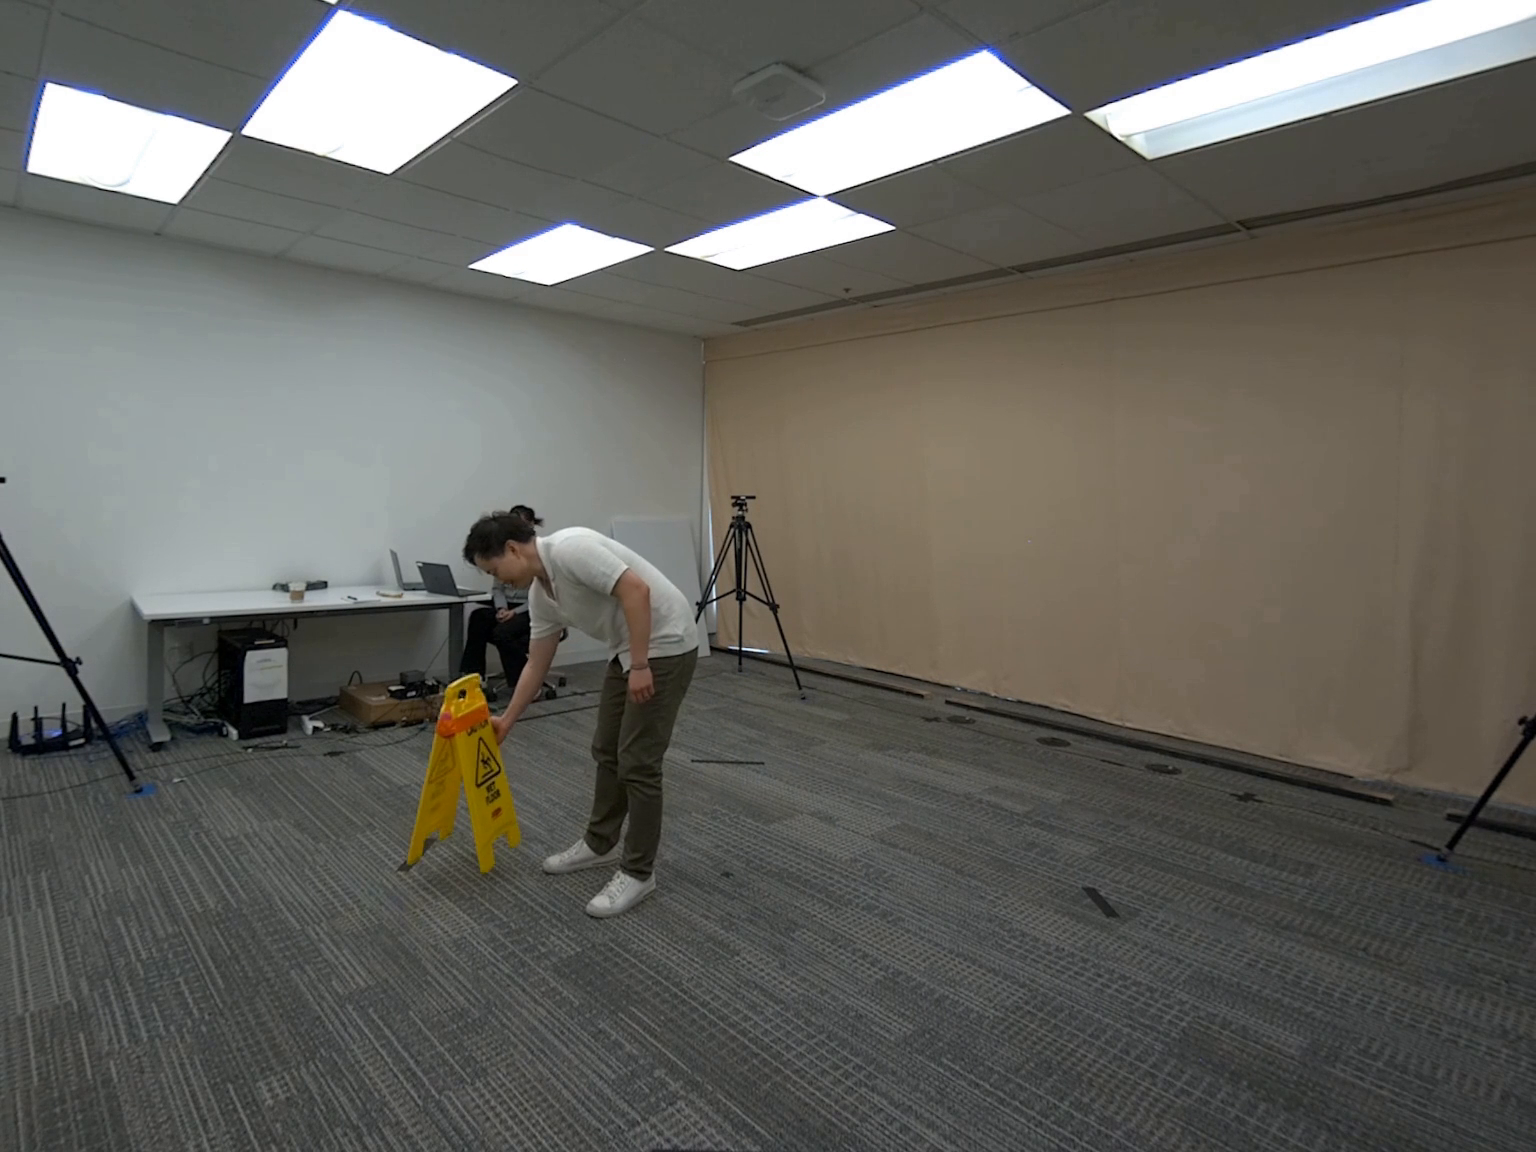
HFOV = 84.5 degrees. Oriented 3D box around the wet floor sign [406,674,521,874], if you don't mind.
[{"bbox_3d":[-1.088,0.689,3.037,0.292,0.643,0.281,1,6,11],"label":"wet floor sign"}]
